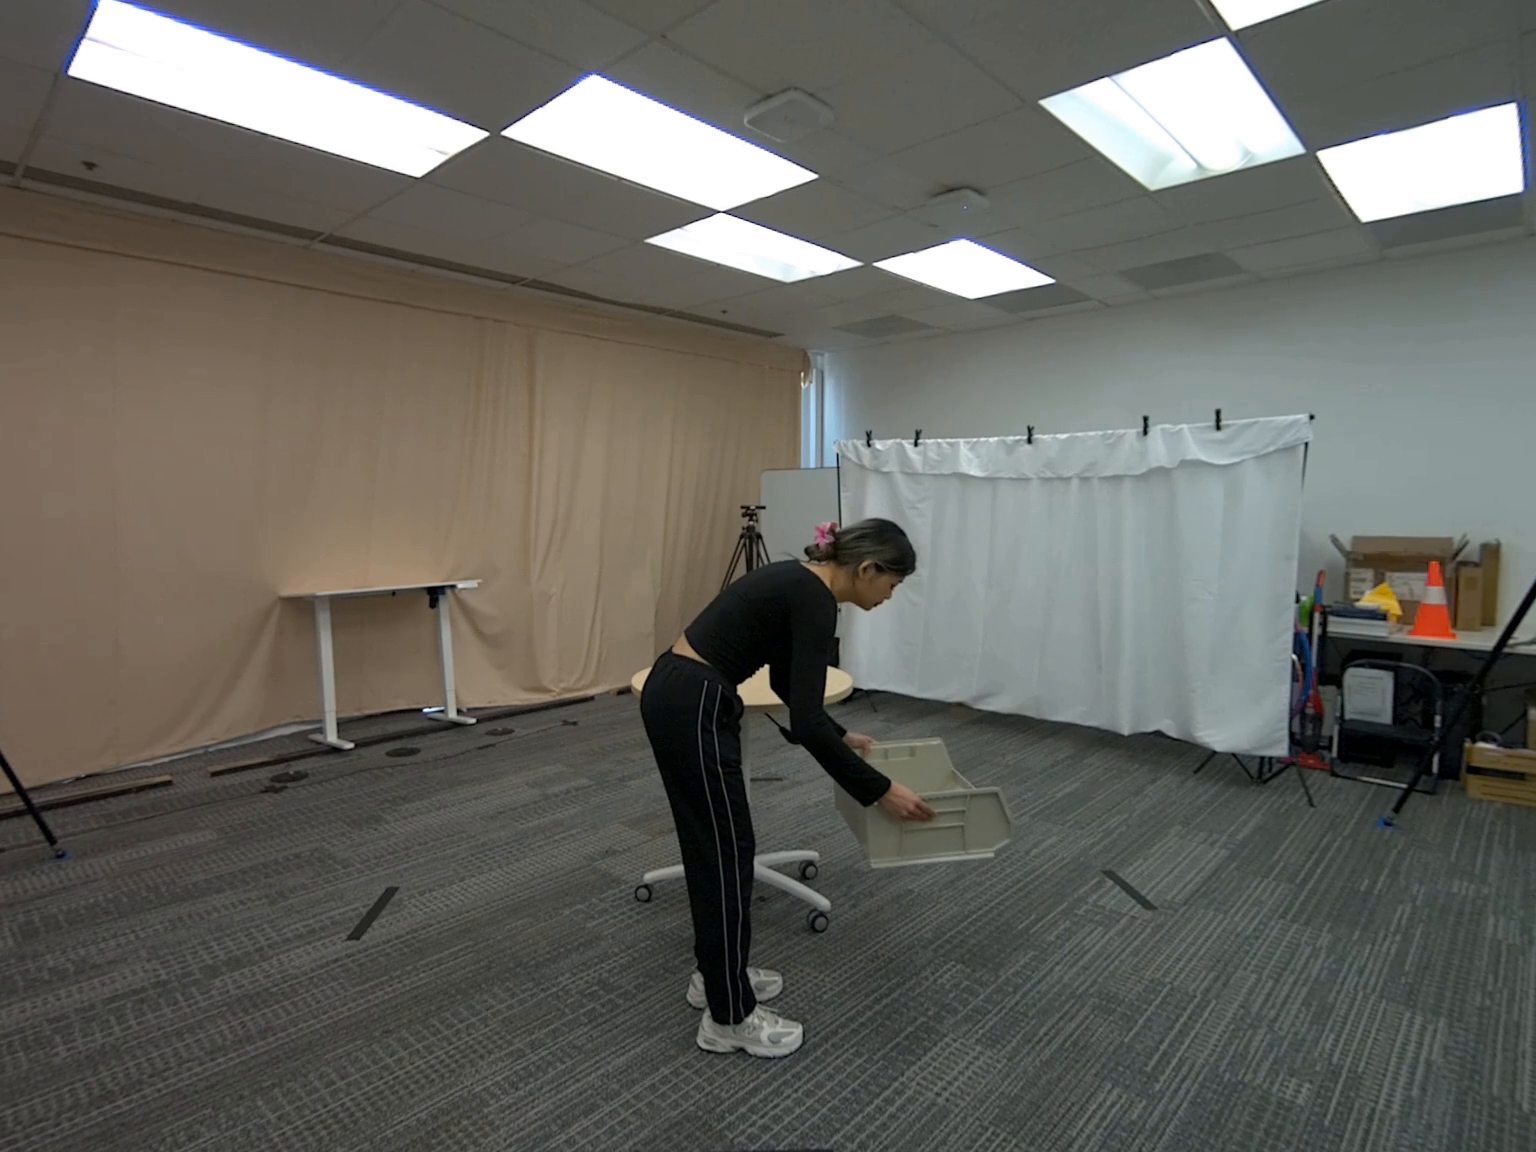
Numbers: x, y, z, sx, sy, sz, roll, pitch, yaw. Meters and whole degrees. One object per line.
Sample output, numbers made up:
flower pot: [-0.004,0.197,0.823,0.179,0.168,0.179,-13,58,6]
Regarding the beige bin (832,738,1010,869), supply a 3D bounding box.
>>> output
beige bin: [0.401,0.606,2.267,0.375,0.188,0.427,-4,6,-7]
